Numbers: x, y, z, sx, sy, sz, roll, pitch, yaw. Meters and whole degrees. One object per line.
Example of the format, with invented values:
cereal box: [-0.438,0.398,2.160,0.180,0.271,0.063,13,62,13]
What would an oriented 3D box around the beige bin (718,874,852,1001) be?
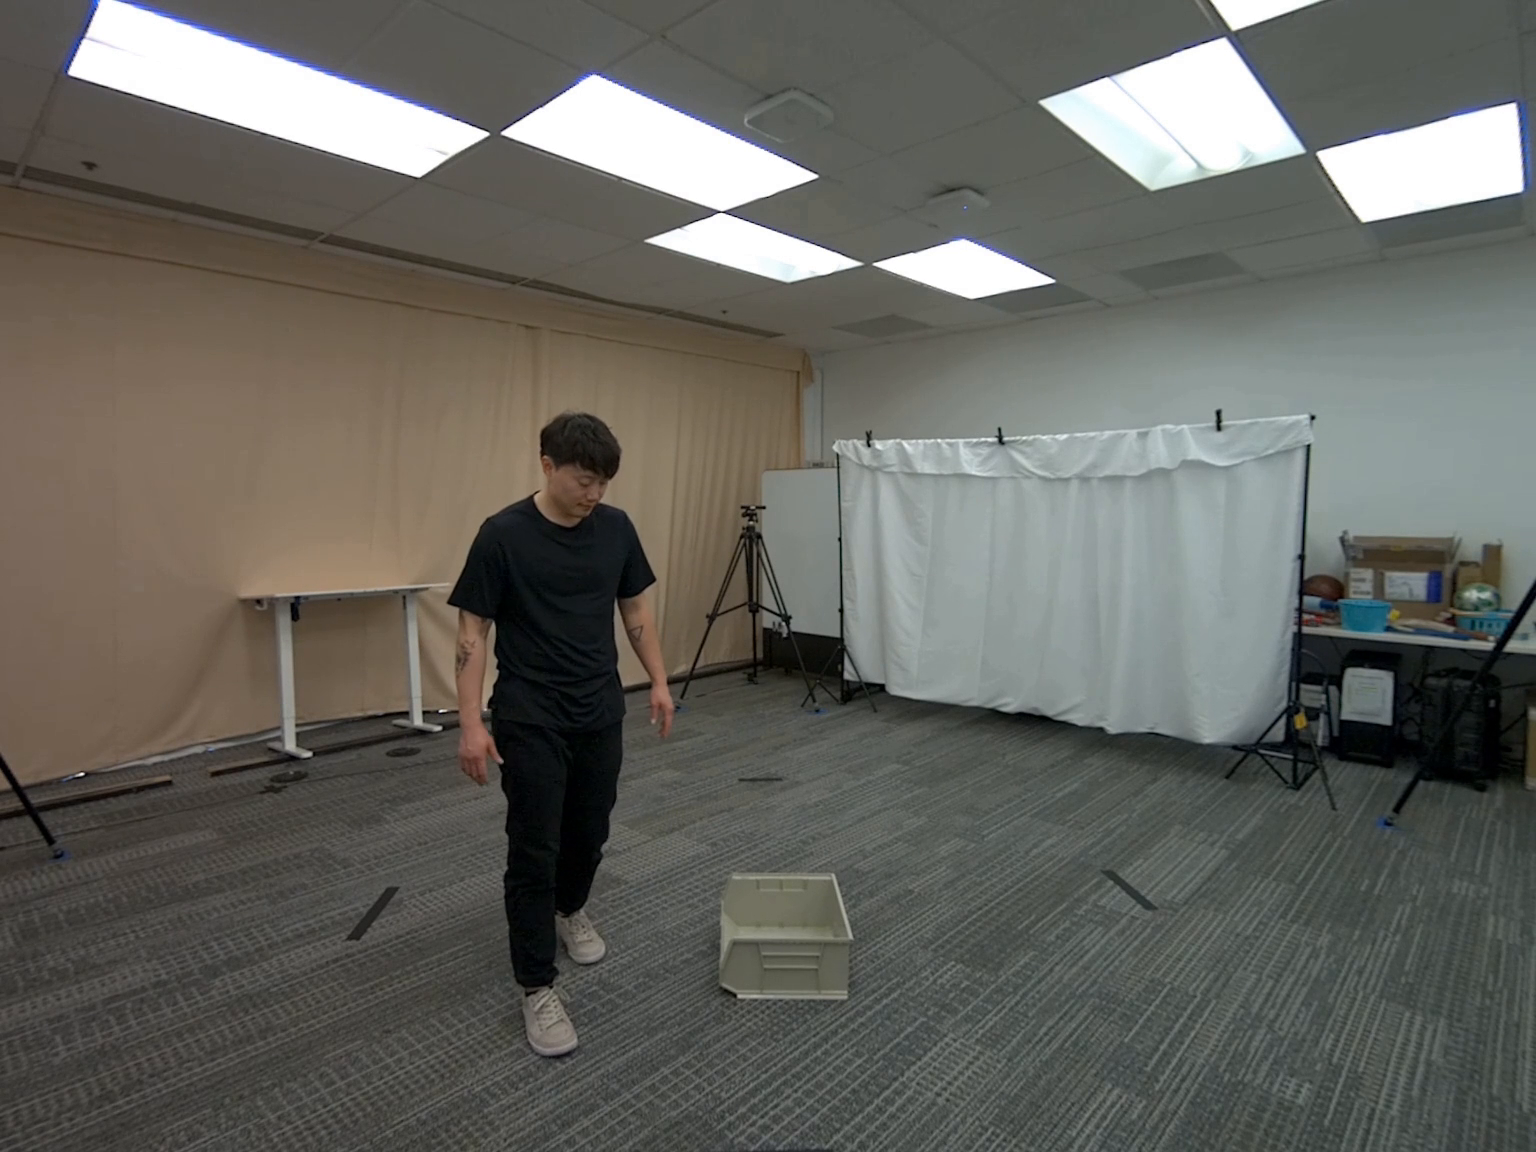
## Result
beige bin: [0.048,1.090,2.570,0.377,0.189,0.423,0,3,-2]
